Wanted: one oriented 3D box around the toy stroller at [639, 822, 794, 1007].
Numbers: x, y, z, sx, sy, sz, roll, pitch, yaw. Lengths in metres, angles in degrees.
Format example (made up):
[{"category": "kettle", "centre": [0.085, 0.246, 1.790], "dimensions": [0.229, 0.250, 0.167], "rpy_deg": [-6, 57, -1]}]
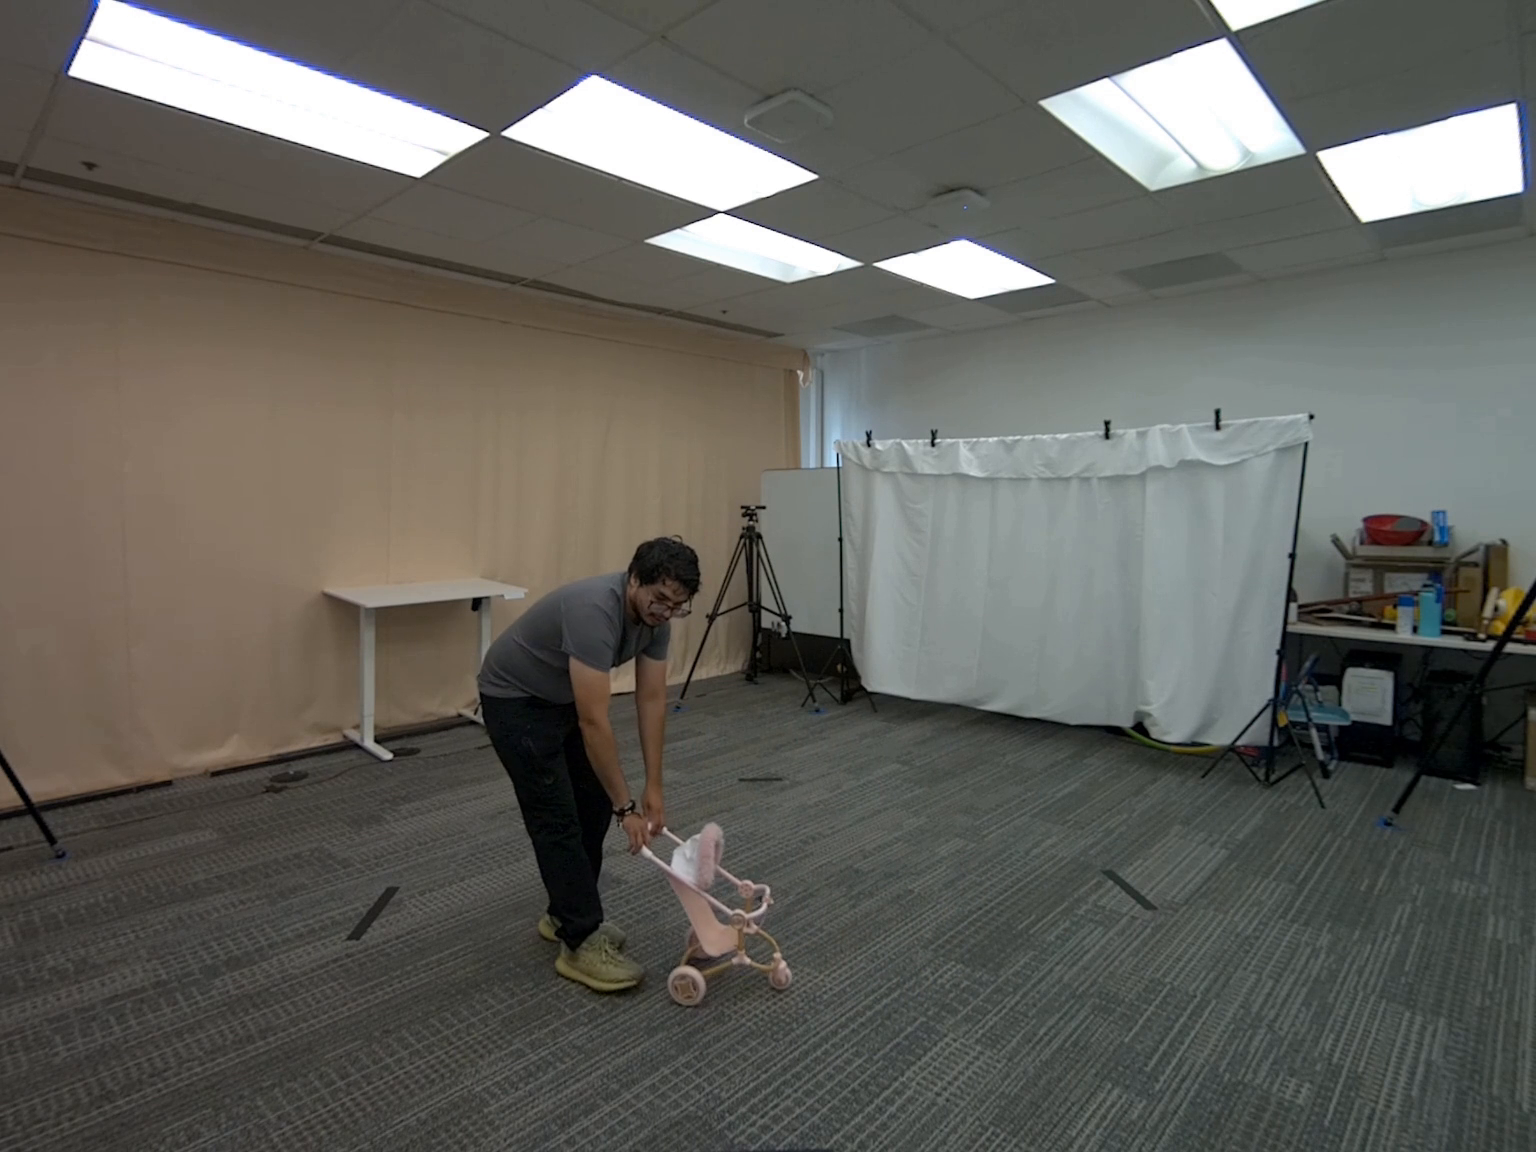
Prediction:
[{"category": "toy stroller", "centre": [-0.144, 0.970, 2.440], "dimensions": [0.345, 0.535, 0.278], "rpy_deg": [-15, -1, 12]}]
